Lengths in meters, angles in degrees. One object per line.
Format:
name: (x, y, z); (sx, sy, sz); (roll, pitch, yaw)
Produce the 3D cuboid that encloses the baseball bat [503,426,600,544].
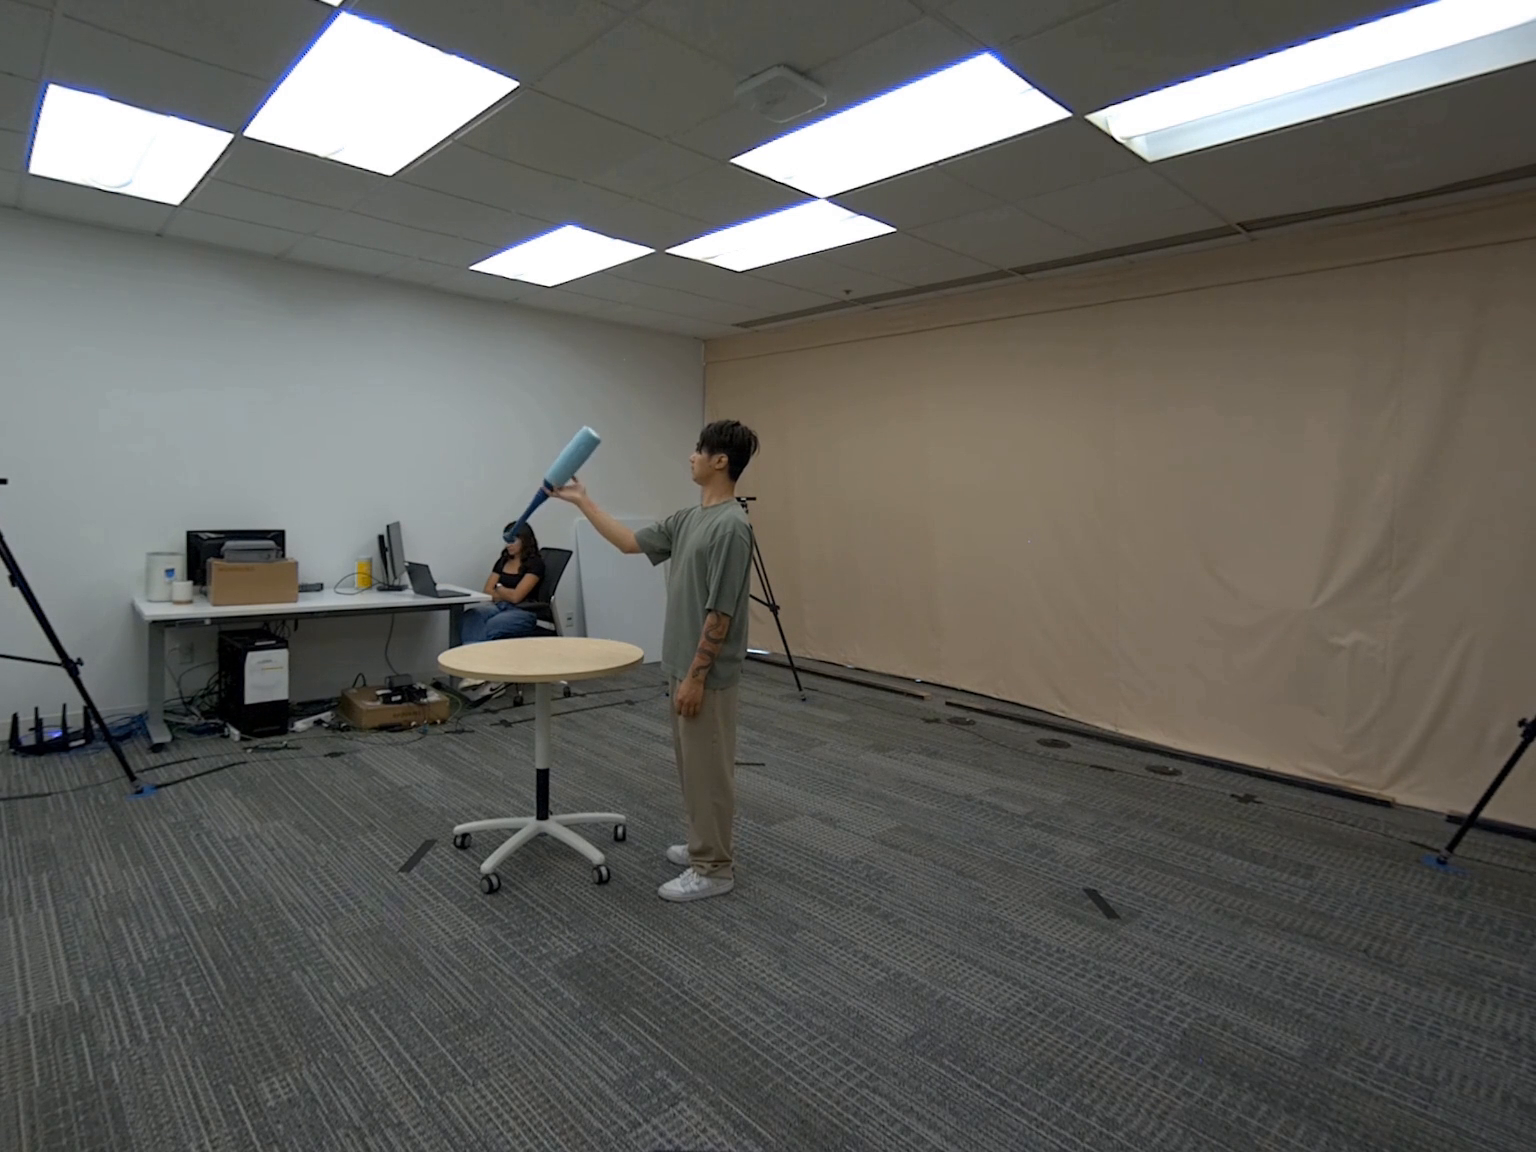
baseball bat: (-0.820, -0.328, 3.143); (0.088, 0.543, 0.090); (39, 10, -10)
